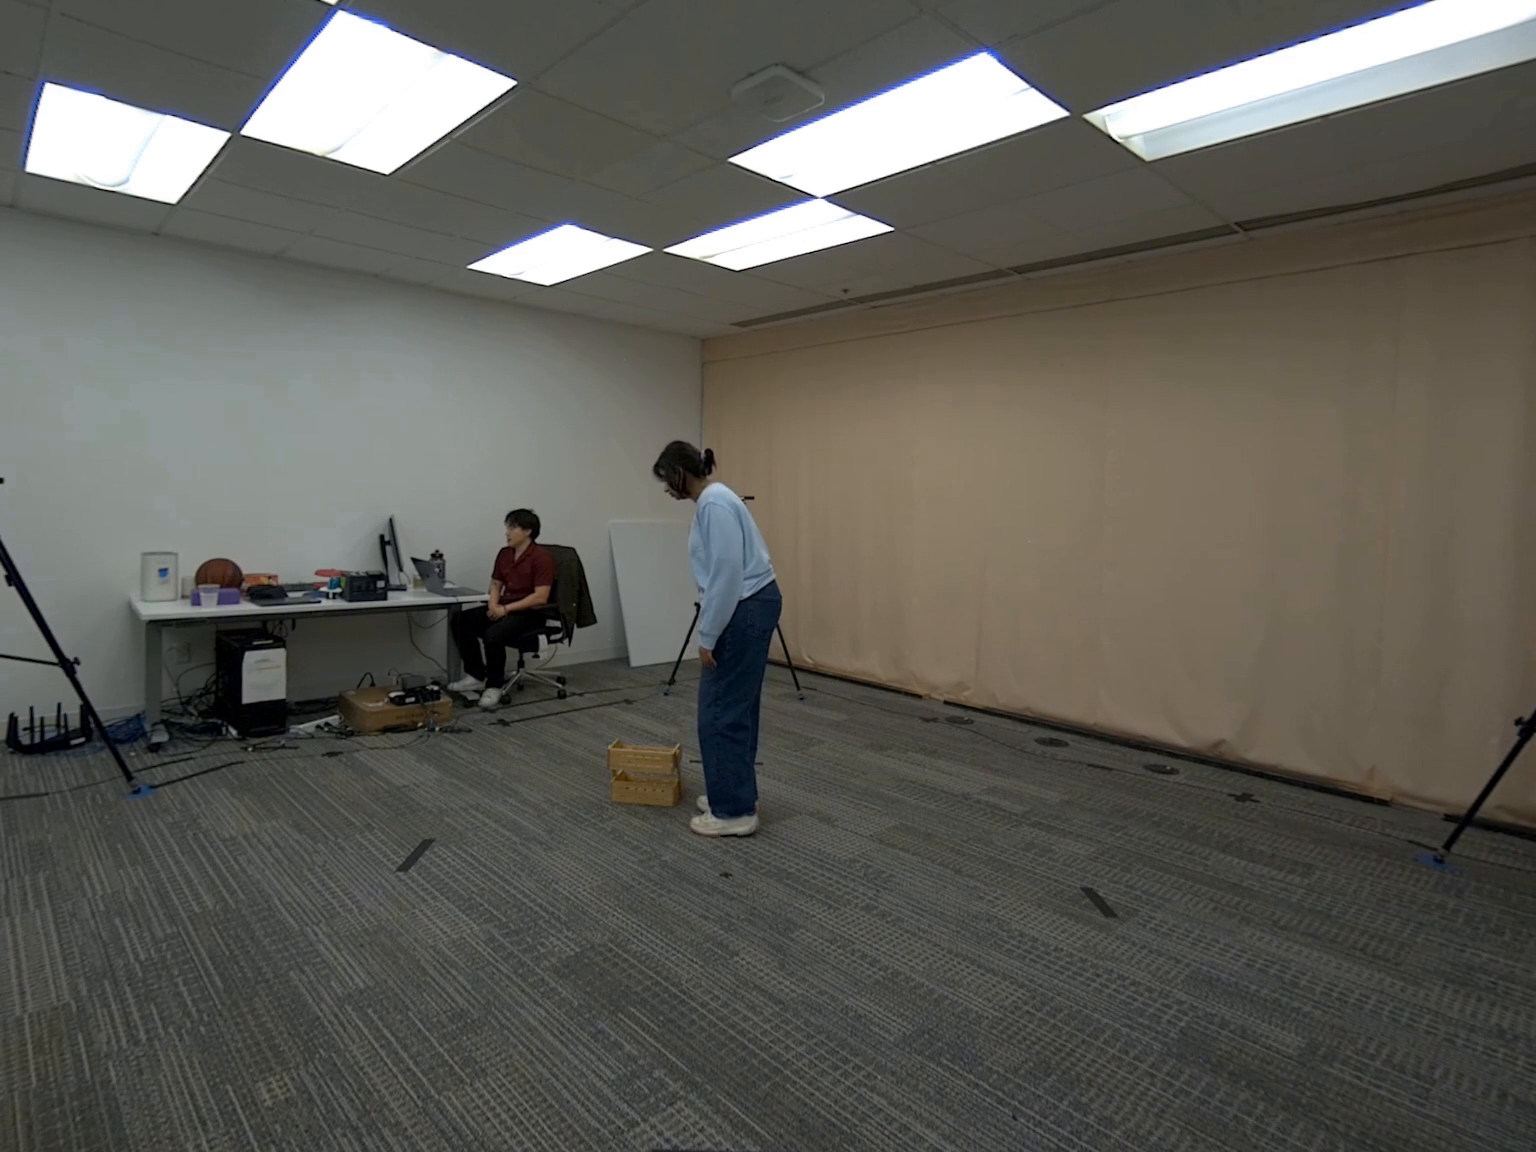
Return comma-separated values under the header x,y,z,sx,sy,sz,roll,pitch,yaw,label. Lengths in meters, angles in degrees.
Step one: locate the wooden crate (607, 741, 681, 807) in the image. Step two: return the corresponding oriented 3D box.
x,y,z,sx,sy,sz,roll,pitch,yaw,label
-0.564,0.891,3.909,0.327,0.272,0.301,2,5,8,wooden crate
